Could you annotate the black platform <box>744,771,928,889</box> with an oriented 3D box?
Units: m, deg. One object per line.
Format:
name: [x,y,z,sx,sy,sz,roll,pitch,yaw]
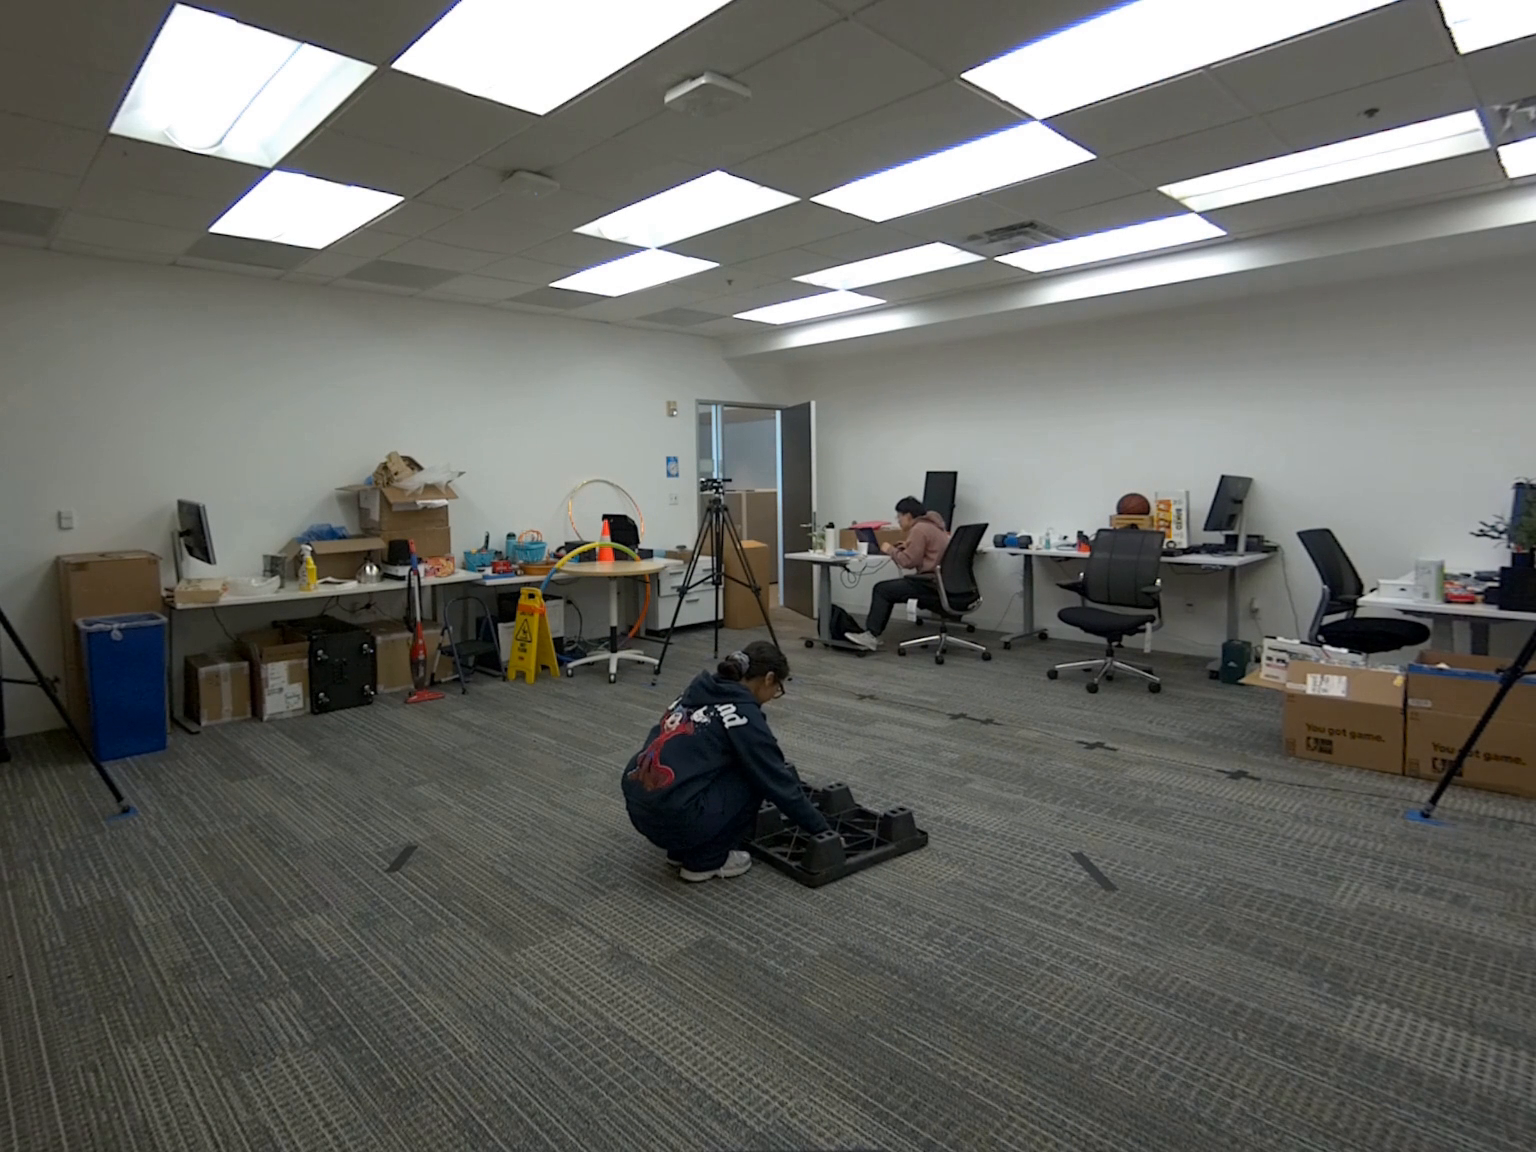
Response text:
black platform: [0.127,0.934,3.381,0.589,0.143,0.830,-5,7,-37]
